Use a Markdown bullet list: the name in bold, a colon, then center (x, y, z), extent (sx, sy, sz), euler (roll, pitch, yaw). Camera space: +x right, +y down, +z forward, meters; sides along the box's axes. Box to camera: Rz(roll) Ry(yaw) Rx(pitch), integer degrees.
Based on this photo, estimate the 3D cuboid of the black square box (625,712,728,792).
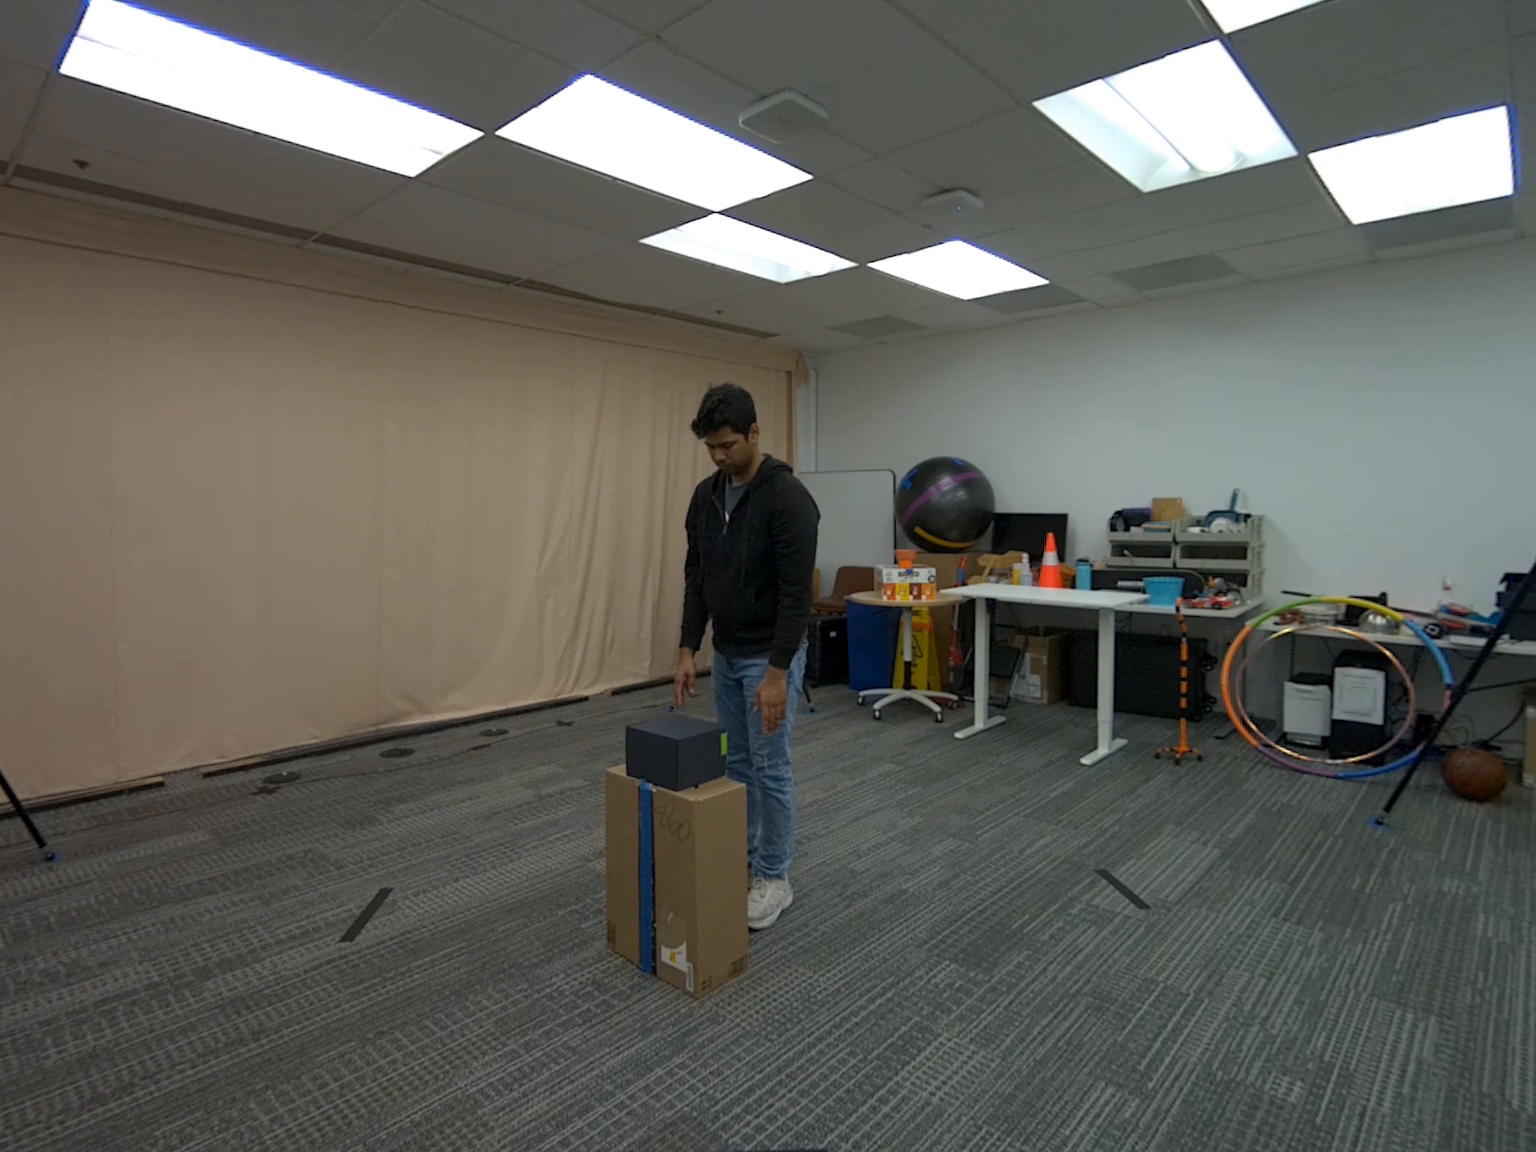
- **black square box**: center (-0.282, 0.536, 2.578), extent (0.235, 0.155, 0.210), euler (4, 4, 41)
